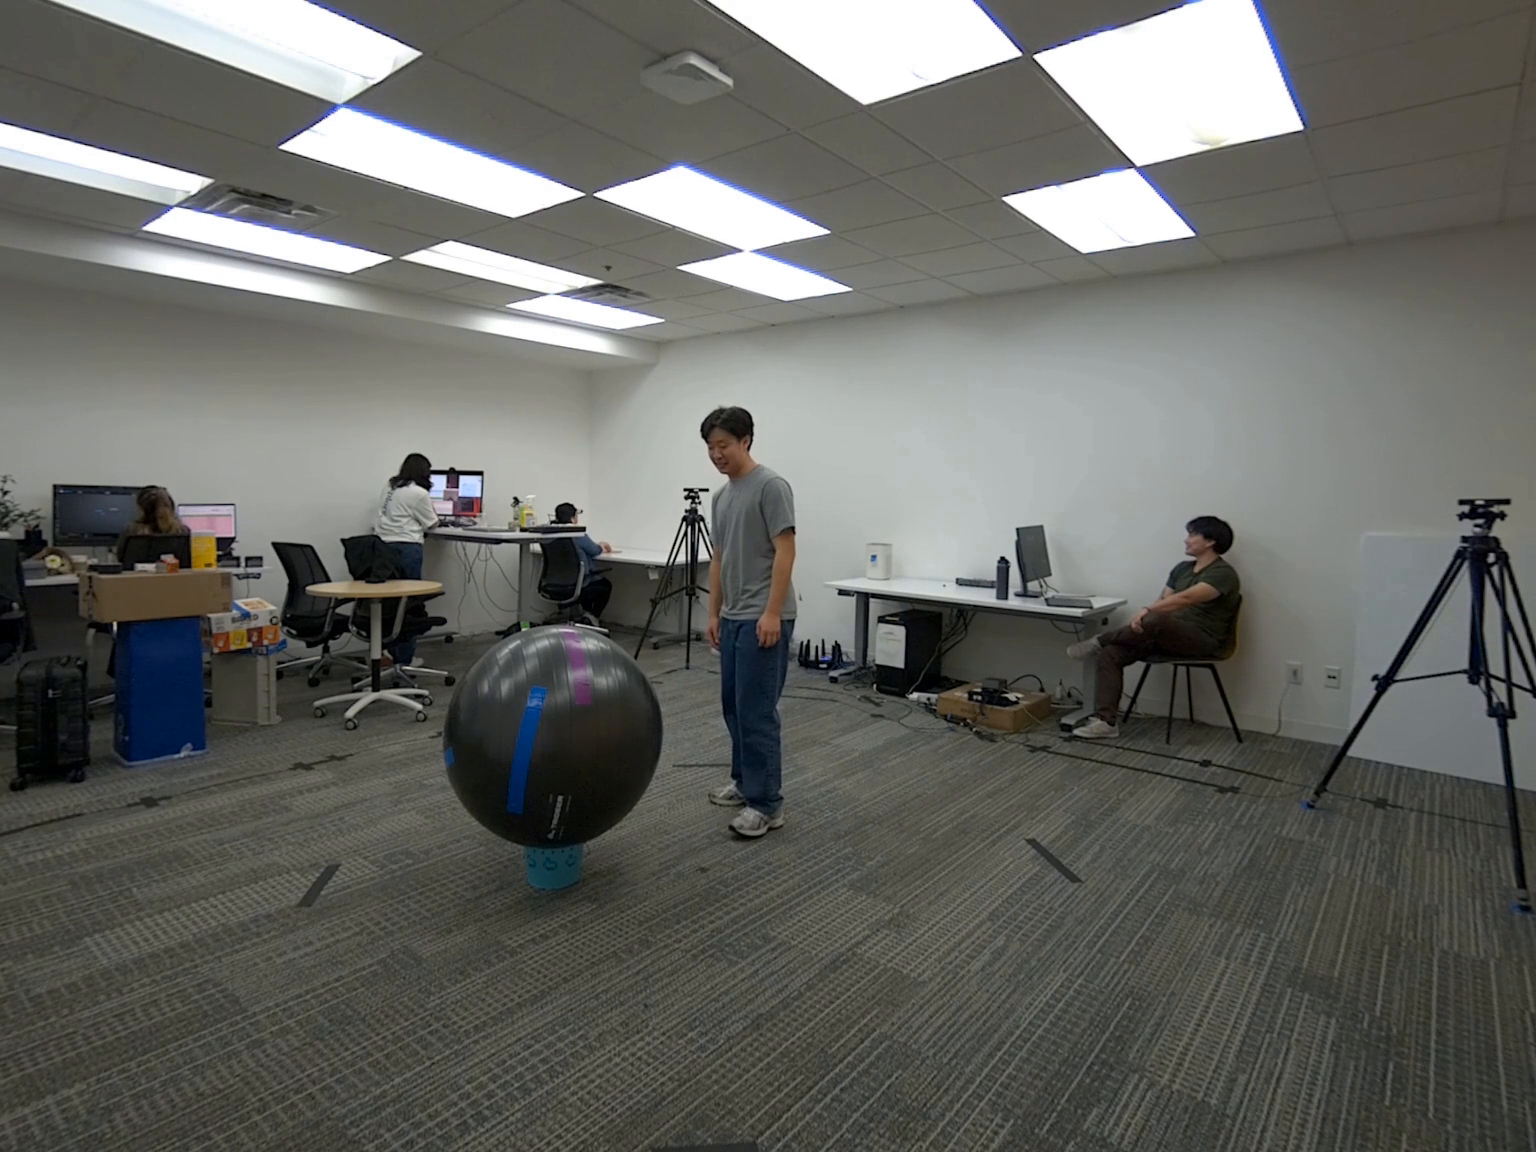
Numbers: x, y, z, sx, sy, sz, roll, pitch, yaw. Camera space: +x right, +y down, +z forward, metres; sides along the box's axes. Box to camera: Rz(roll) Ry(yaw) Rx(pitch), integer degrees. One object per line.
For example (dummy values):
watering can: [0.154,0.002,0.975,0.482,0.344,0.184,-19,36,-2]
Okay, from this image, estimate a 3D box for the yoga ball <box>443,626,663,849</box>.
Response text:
yoga ball: [-0.765,0.557,3.000,0.757,0.756,0.761,1,4,-2]
